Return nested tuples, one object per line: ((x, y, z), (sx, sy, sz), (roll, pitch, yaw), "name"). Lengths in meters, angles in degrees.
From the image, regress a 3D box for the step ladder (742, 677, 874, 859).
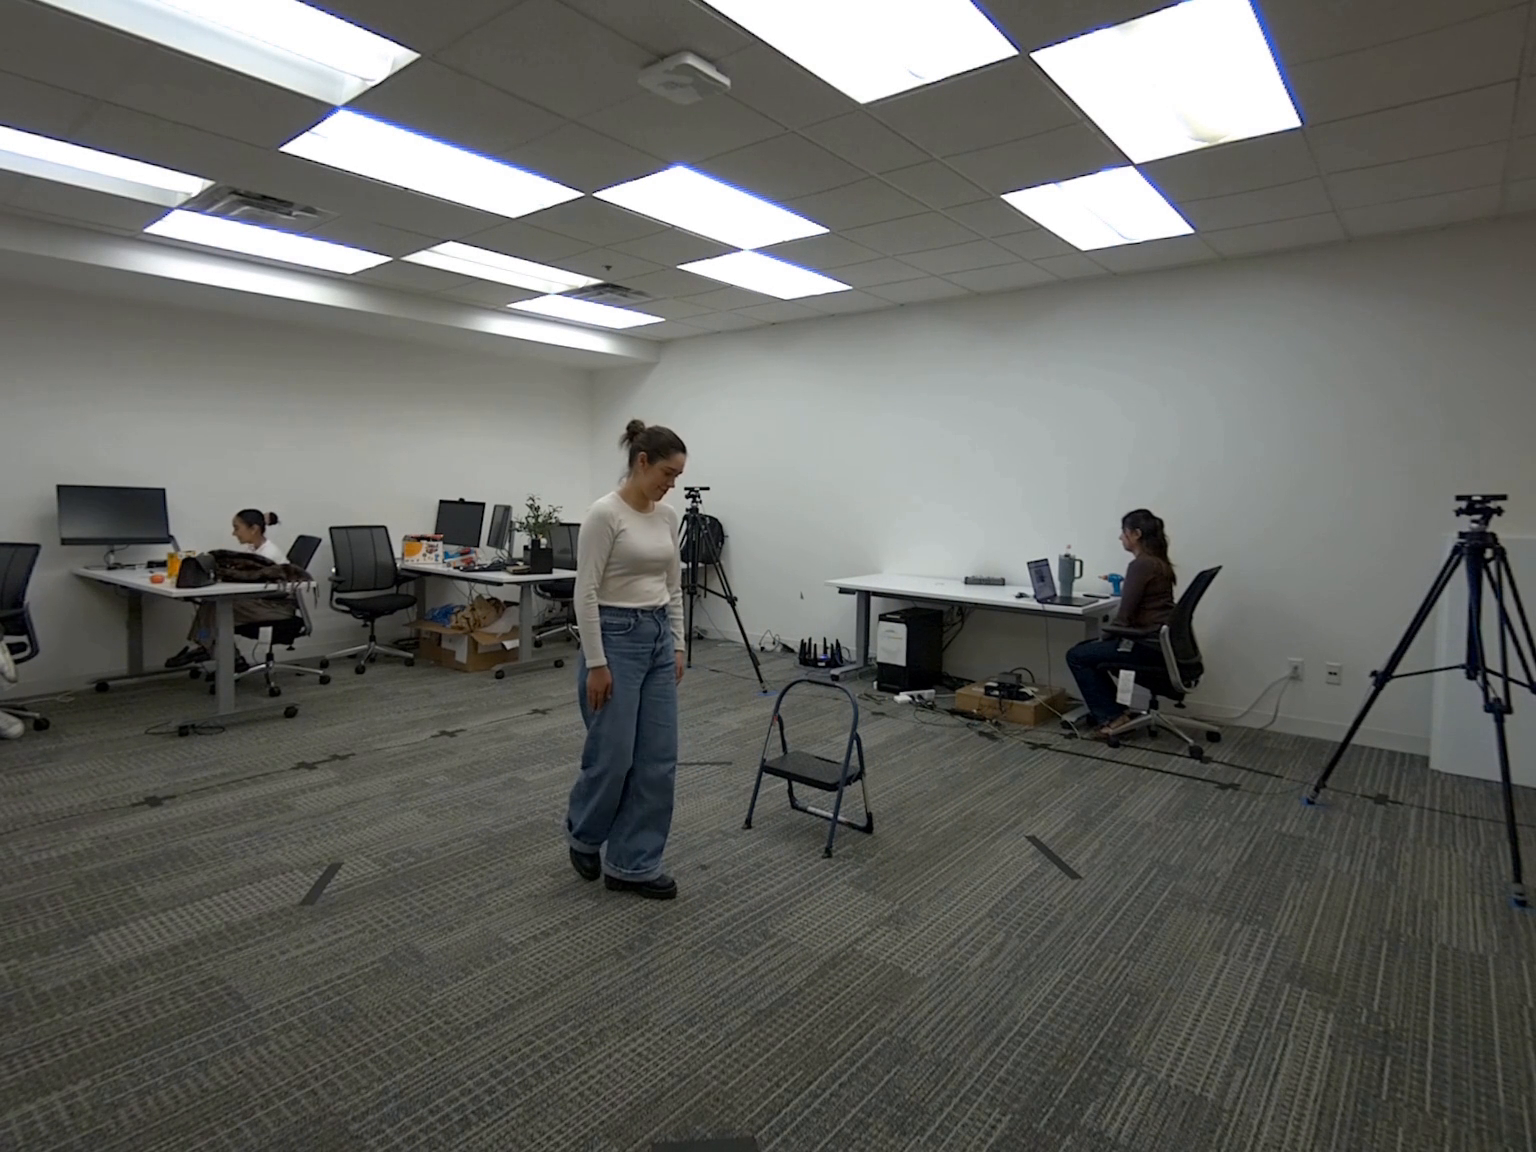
((0.165, 0.734, 3.460), (0.445, 0.604, 0.339), (4, 5, 39), "step ladder")
